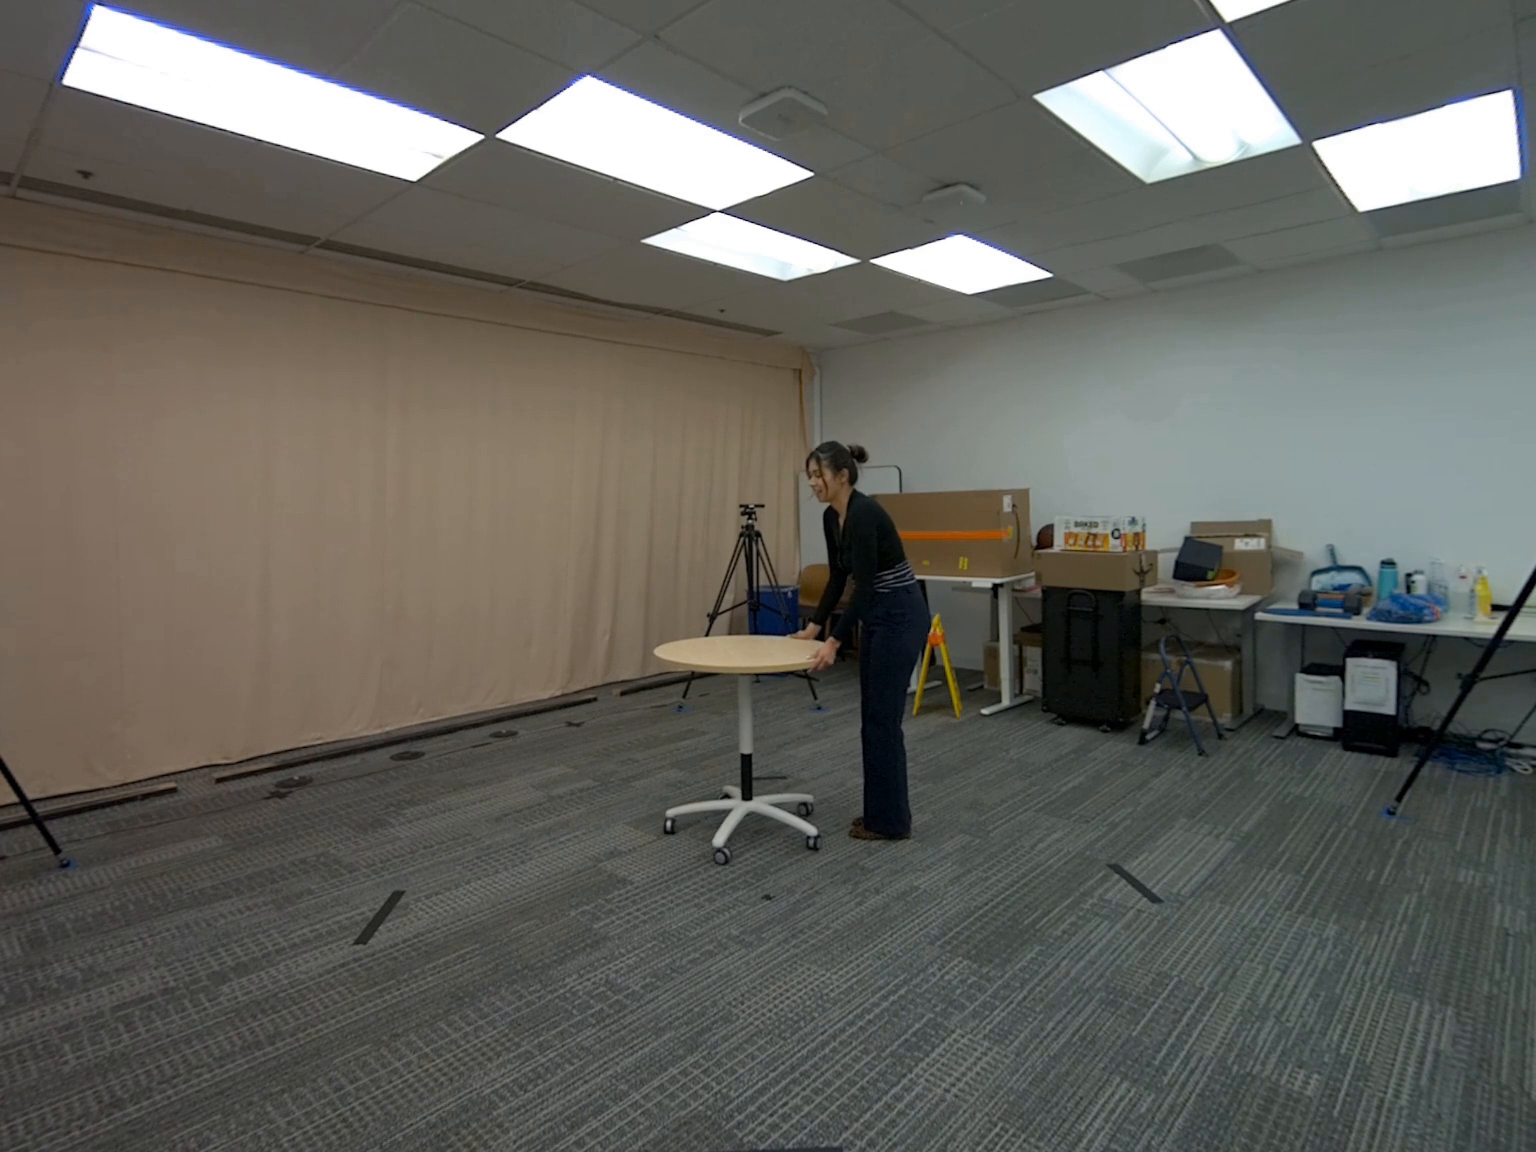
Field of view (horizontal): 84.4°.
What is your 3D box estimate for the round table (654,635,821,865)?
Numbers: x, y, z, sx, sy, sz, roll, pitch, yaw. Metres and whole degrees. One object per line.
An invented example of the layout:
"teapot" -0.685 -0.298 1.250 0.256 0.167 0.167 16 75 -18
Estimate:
"round table" -0.096 0.703 3.573 0.763 0.792 0.766 -1 3 -2
